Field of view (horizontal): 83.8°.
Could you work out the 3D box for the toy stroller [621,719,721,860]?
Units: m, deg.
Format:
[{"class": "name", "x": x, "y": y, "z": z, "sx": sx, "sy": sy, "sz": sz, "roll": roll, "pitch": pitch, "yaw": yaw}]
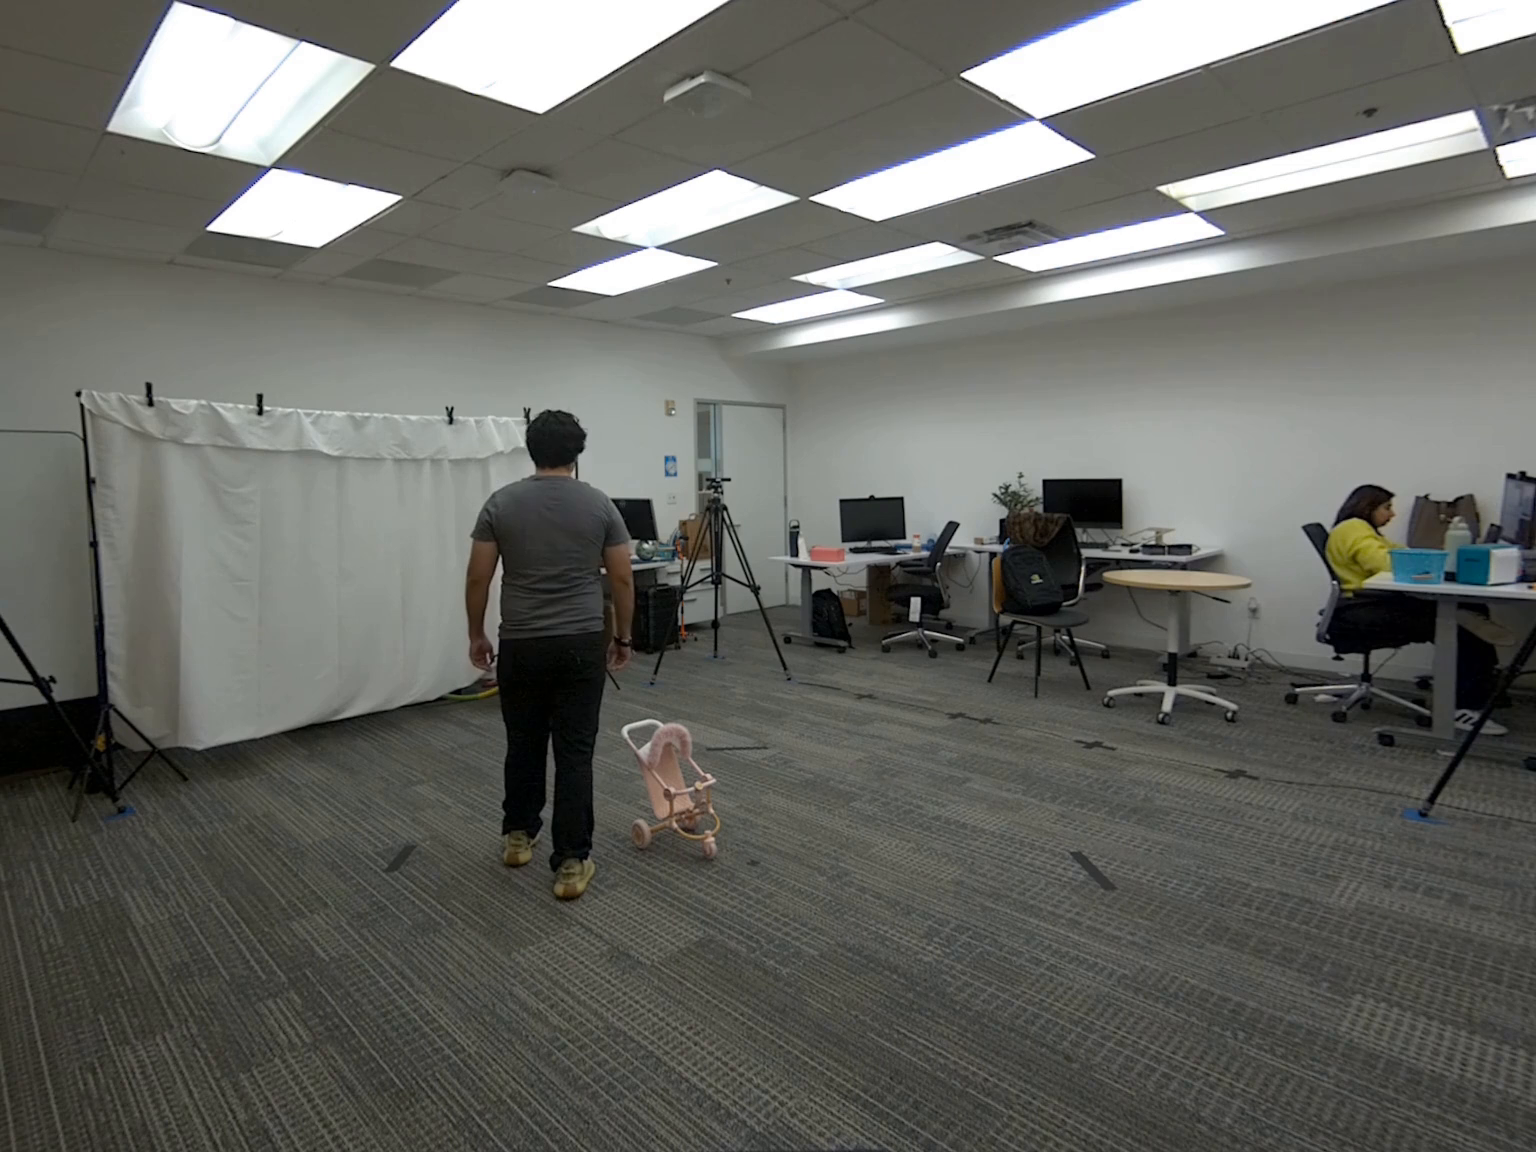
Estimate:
[{"class": "toy stroller", "x": -0.356, "y": 0.804, "z": 3.270, "sx": 0.274, "sy": 0.540, "sz": 0.347, "roll": -5, "pitch": -11, "yaw": -41}]
